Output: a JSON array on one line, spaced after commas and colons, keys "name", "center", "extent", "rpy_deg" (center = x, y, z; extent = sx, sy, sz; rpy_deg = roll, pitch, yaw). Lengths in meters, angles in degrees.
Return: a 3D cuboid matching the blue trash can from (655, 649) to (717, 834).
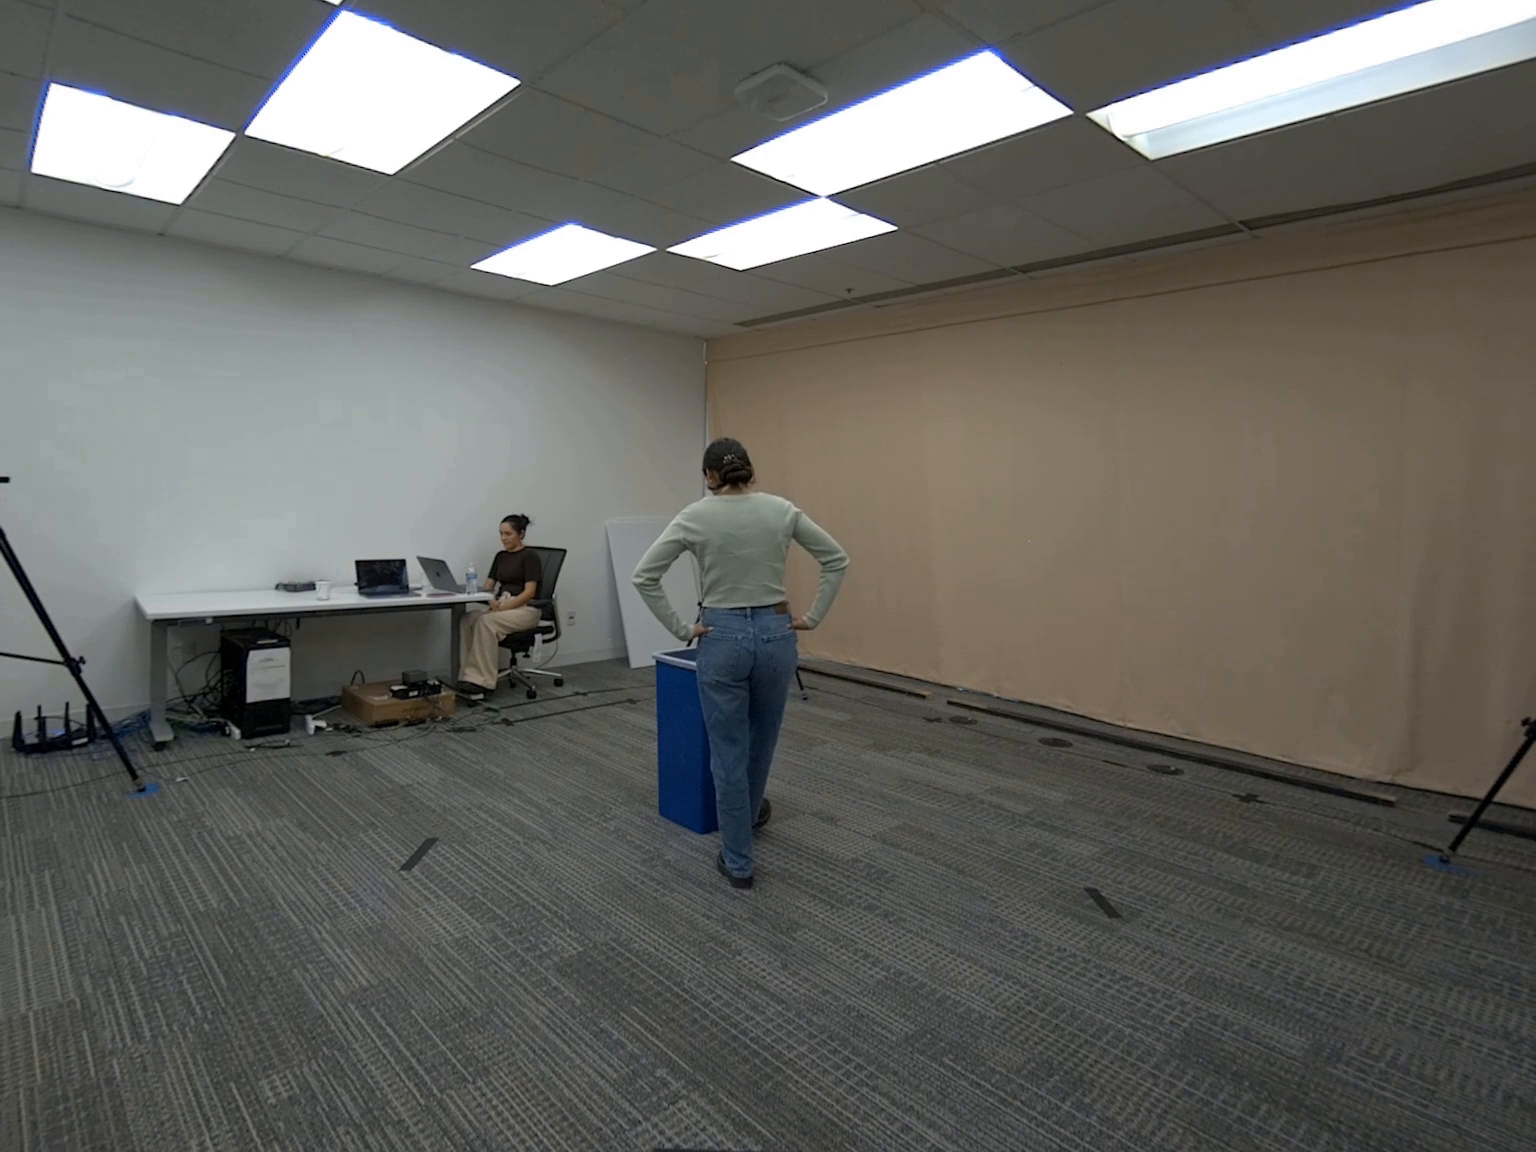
[{"name": "blue trash can", "center": [-0.279, 0.691, 3.661], "extent": [0.369, 0.712, 0.384], "rpy_deg": [-2, 5, -44]}]
